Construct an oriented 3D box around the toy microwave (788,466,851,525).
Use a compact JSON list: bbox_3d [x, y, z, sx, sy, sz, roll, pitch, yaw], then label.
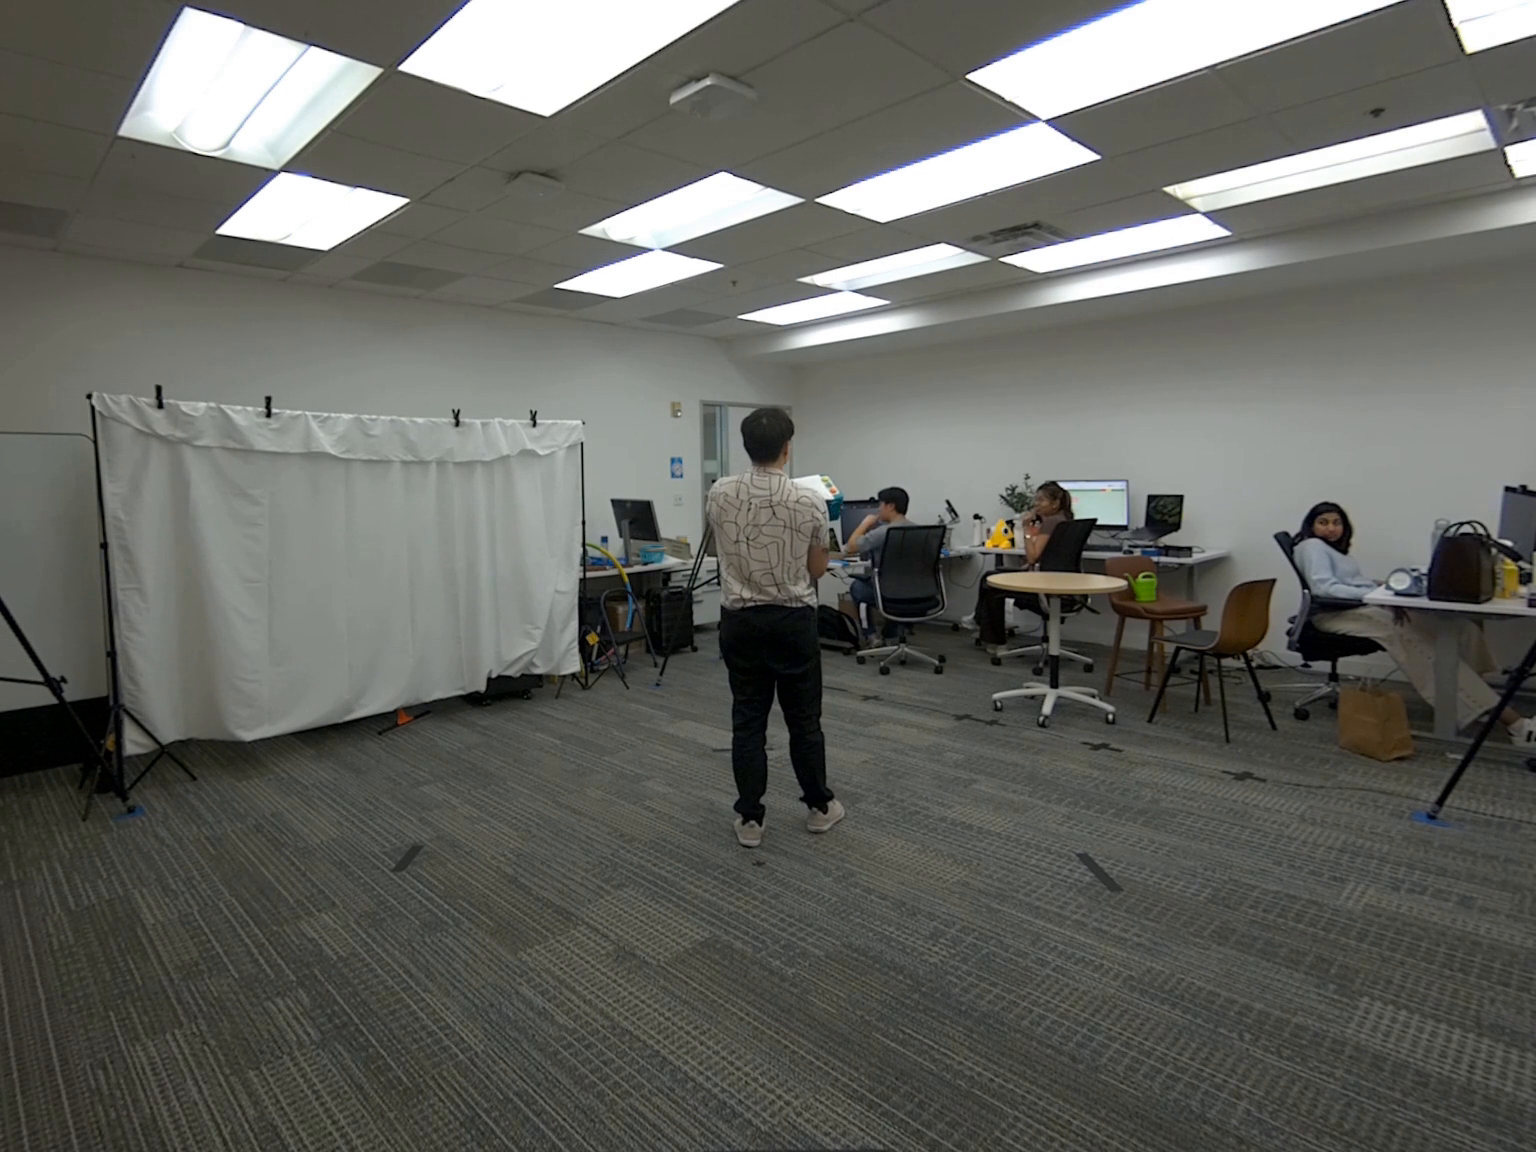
[{"bbox_3d":[0.166,-0.321,3.595,0.283,0.148,0.191,-12,46,-16],"label":"toy microwave"}]
